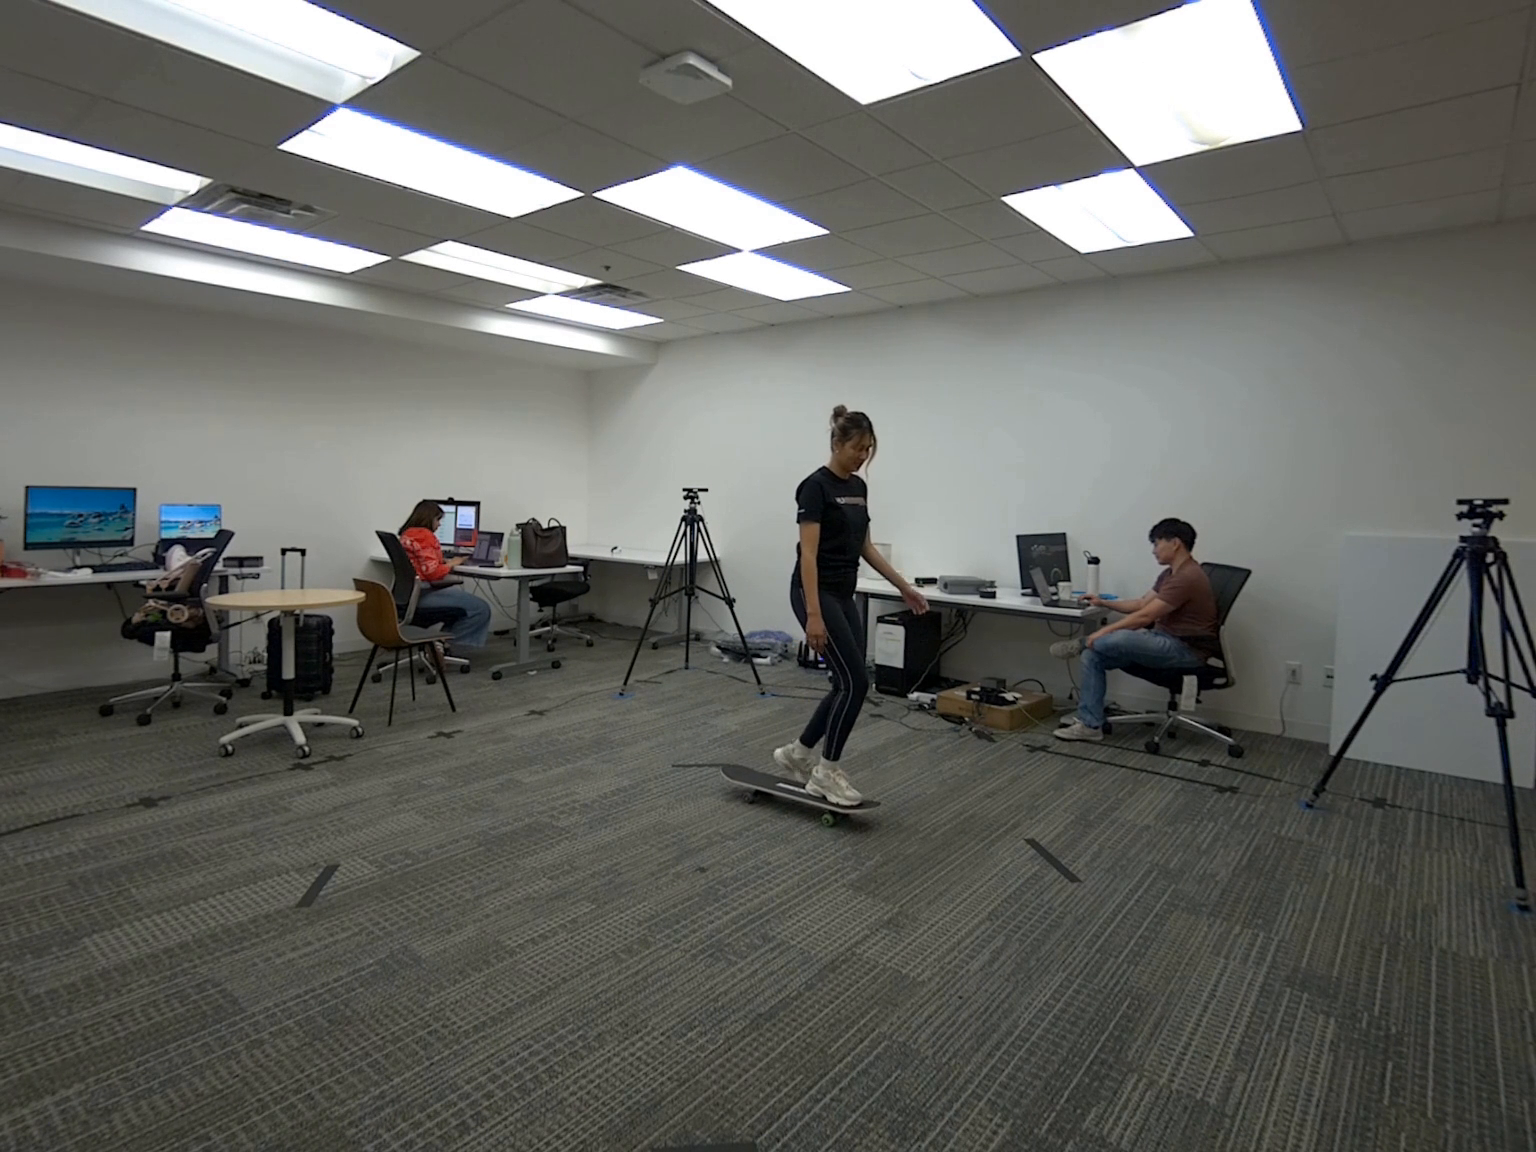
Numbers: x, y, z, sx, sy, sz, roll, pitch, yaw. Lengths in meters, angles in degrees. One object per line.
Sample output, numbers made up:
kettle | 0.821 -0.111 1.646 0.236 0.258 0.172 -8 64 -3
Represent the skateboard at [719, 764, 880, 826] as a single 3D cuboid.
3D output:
skateboard | 0.107 0.964 3.727 0.811 0.110 0.188 6 5 35
